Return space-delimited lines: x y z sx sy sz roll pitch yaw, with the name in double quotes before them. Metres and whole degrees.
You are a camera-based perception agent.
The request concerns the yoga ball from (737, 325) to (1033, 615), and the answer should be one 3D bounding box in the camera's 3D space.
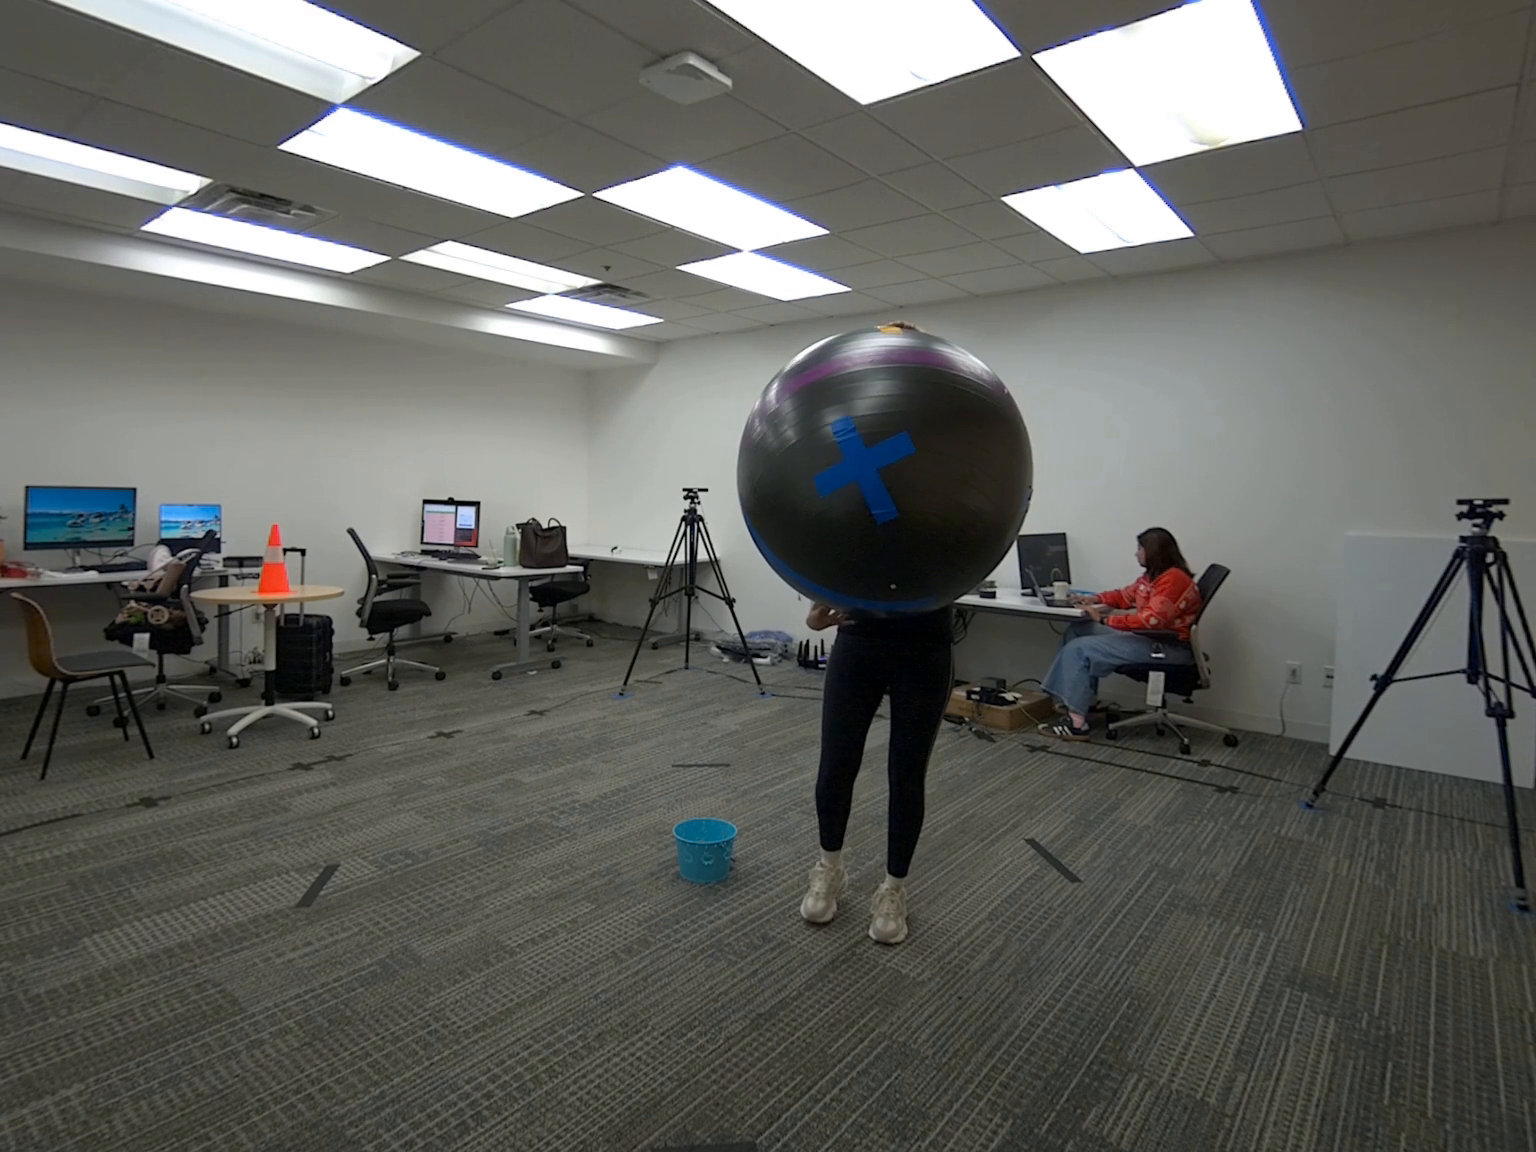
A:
"yoga ball" 0.300 -0.266 2.231 0.757 0.756 0.761 1 4 -2
